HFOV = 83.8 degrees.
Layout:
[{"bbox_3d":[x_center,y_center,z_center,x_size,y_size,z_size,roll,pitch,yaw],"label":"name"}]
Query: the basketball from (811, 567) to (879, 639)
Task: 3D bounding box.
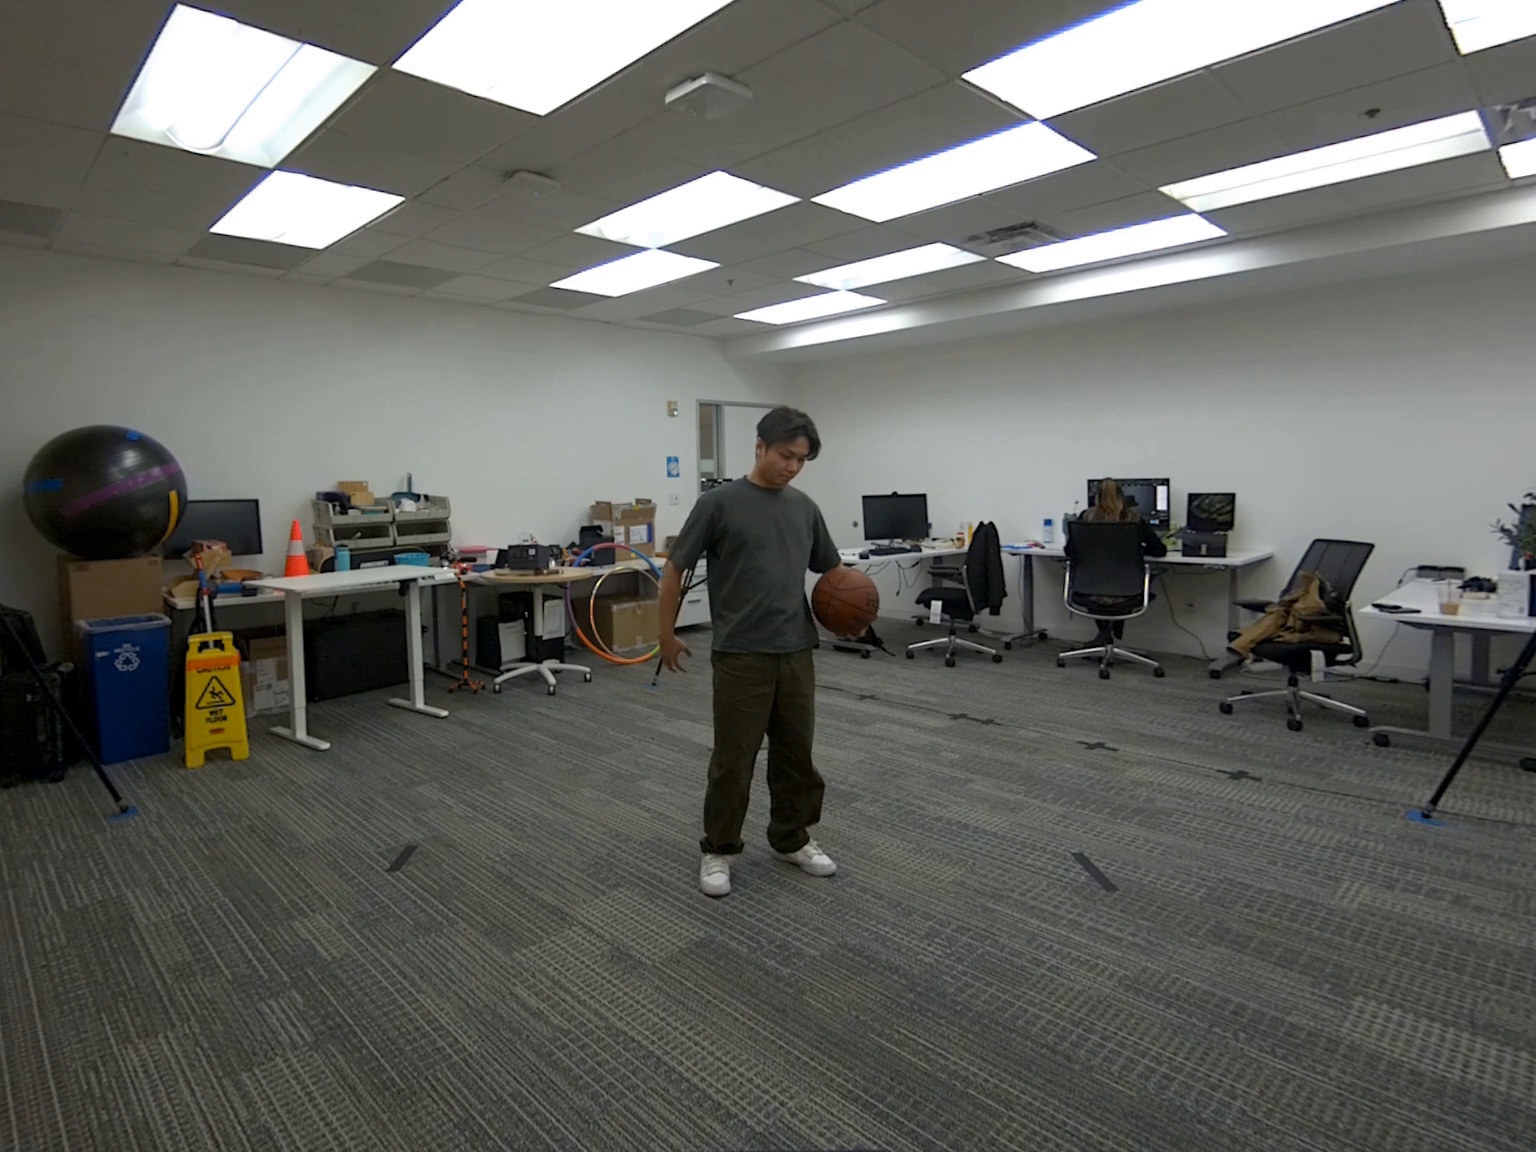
[{"bbox_3d":[0.253,0.084,3.004,0.236,0.235,0.237,-1,5,-2],"label":"basketball"}]
